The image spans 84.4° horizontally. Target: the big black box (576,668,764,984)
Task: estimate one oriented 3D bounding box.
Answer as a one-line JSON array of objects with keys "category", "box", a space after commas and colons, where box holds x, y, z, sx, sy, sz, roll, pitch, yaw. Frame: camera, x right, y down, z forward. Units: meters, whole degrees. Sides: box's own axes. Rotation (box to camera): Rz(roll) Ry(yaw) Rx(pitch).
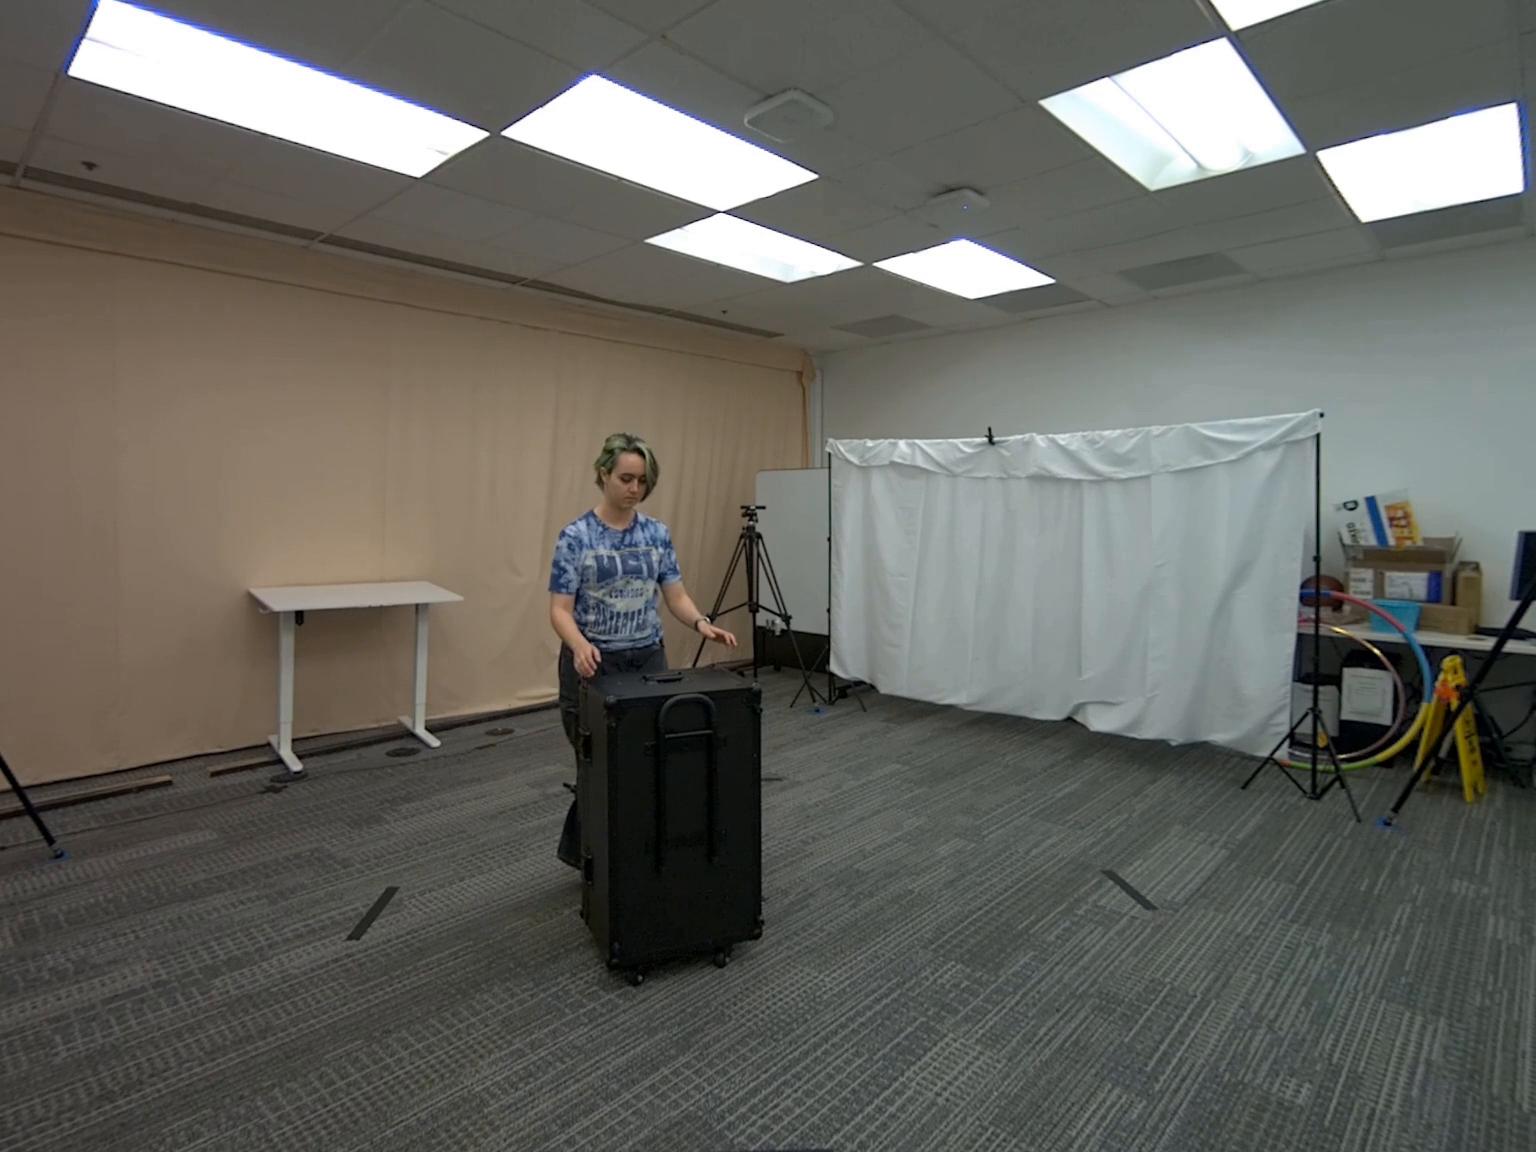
[{"category": "big black box", "box": [-0.302, 0.692, 2.612, 0.509, 0.860, 0.406, -1, 3, -24]}]
